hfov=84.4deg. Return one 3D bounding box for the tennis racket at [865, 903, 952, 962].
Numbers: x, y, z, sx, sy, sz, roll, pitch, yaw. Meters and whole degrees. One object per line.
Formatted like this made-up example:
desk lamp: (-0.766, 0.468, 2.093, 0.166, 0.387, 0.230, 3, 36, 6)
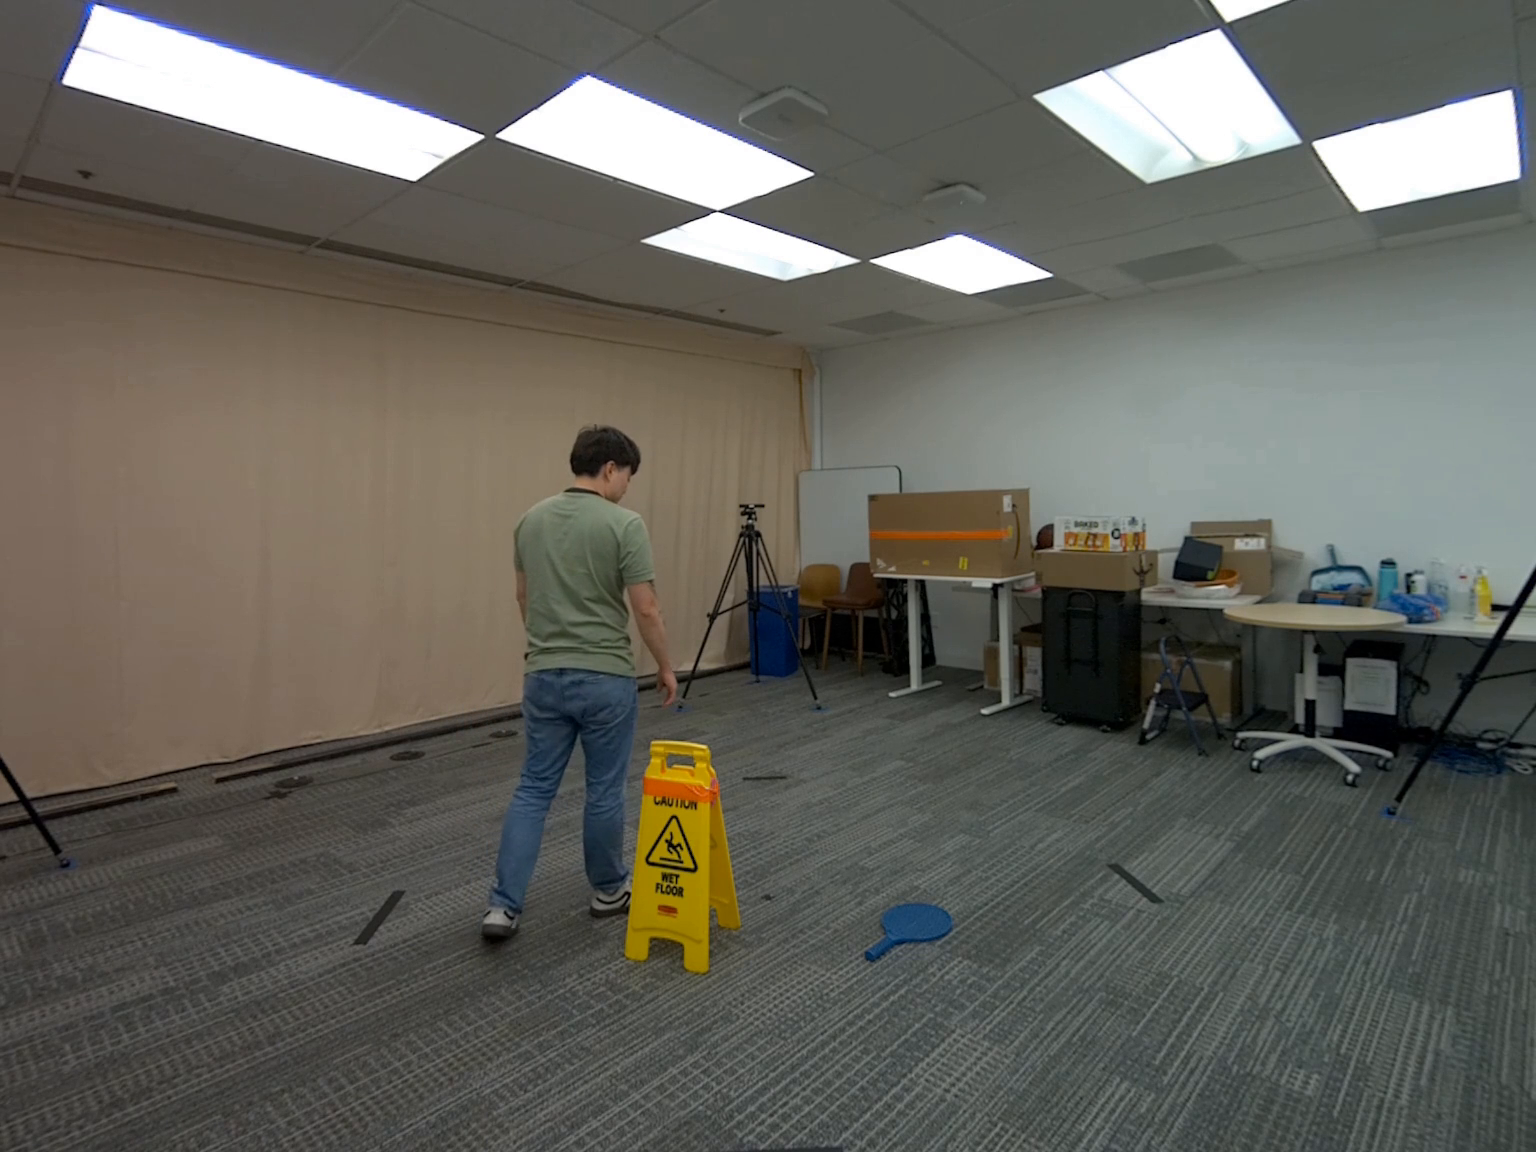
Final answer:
tennis racket: (0.443, 1.143, 2.710, 0.221, 0.032, 0.420, 4, 6, 41)
